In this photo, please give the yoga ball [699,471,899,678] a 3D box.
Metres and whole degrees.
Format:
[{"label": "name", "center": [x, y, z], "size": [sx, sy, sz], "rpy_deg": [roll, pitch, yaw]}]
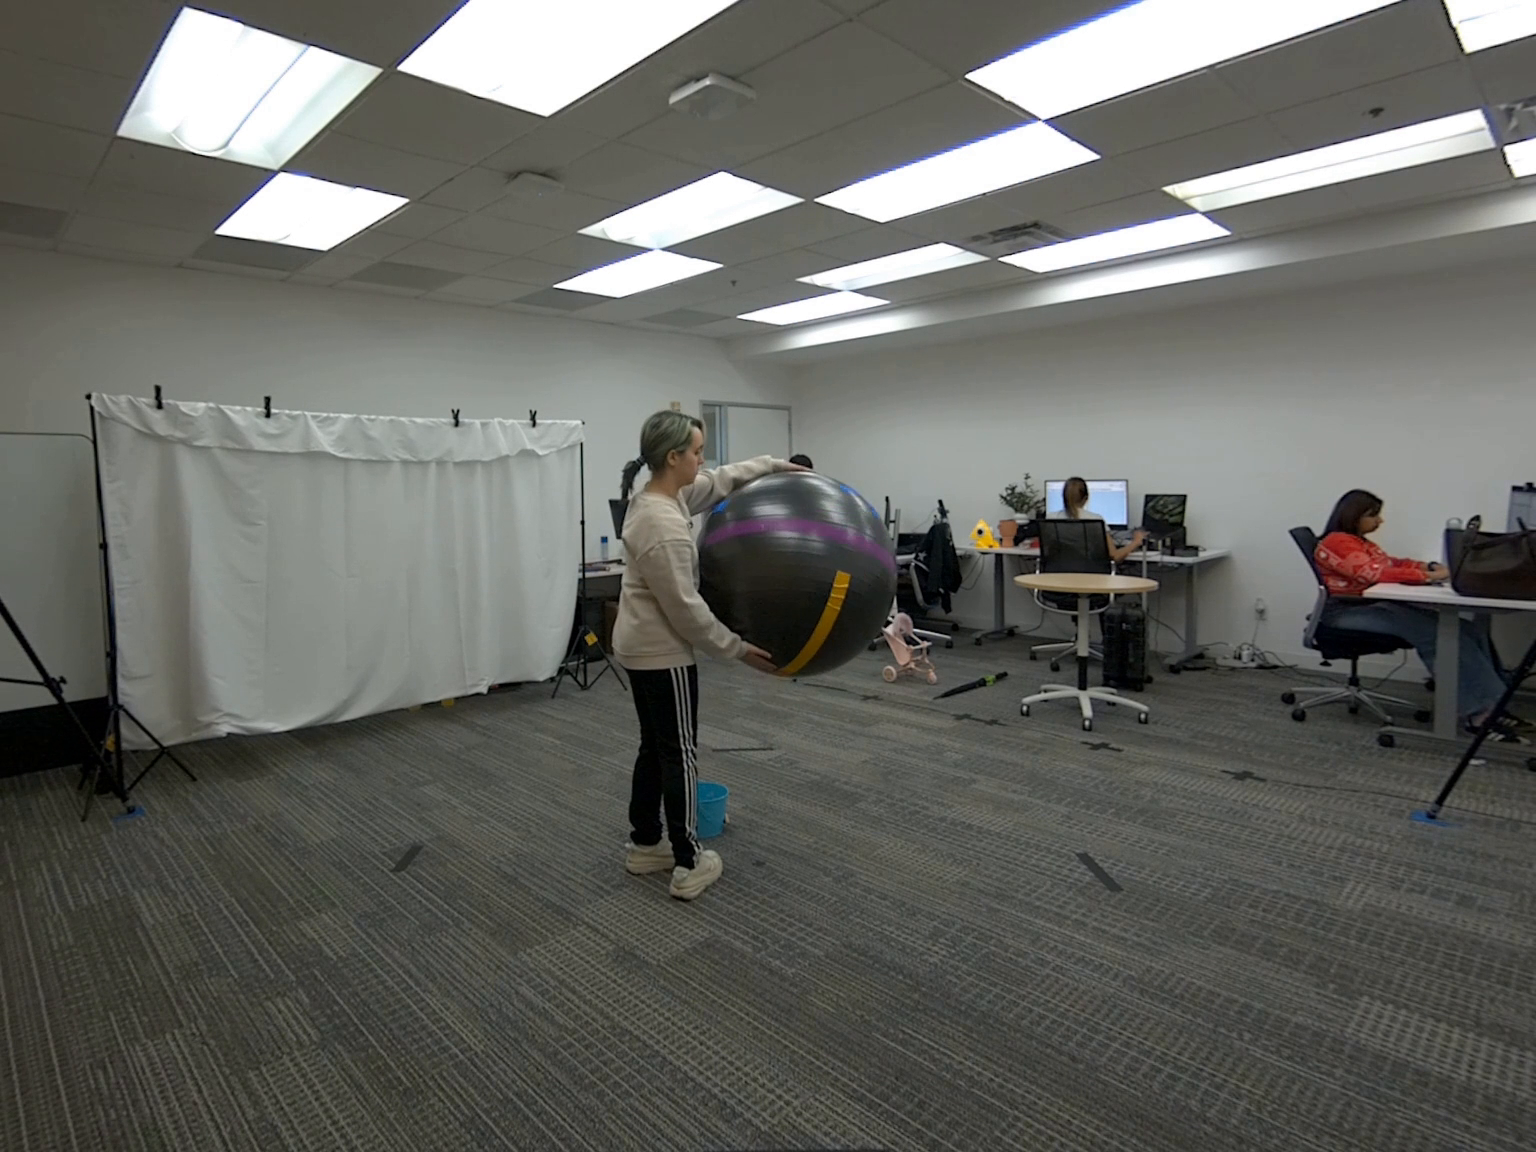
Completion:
[{"label": "yoga ball", "center": [0.097, -0.005, 3.169], "size": [0.757, 0.755, 0.762], "rpy_deg": [-1, 5, -2]}]
